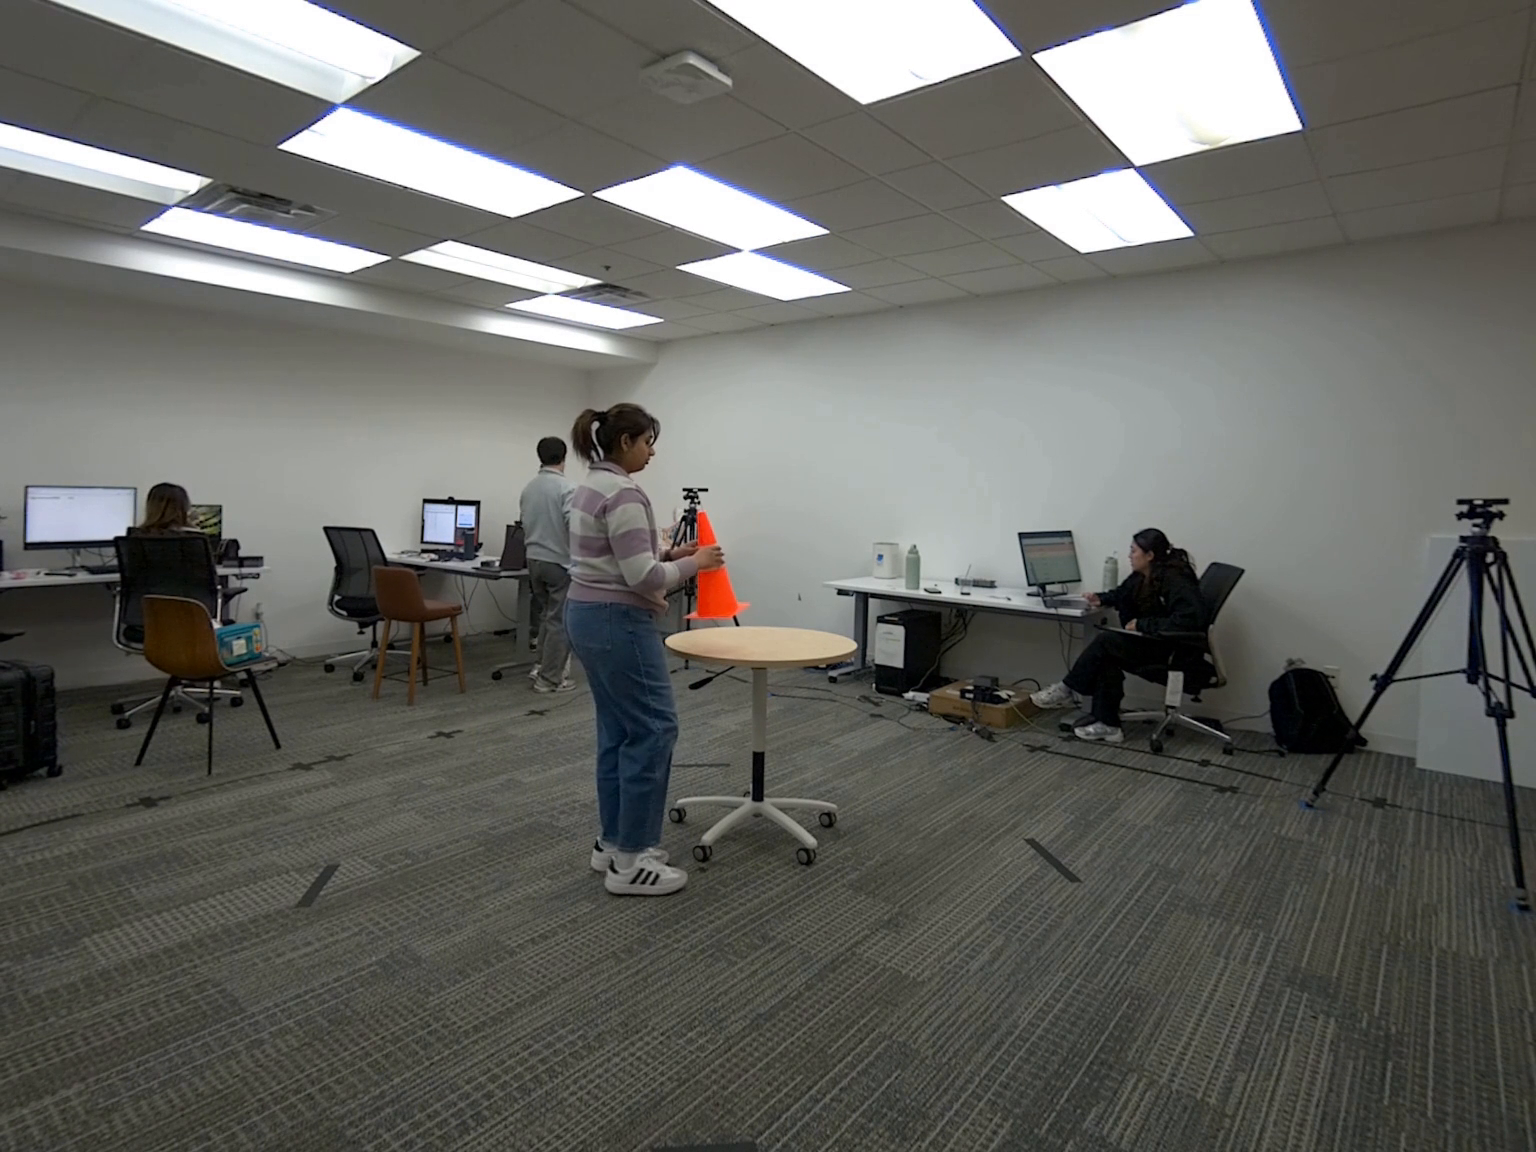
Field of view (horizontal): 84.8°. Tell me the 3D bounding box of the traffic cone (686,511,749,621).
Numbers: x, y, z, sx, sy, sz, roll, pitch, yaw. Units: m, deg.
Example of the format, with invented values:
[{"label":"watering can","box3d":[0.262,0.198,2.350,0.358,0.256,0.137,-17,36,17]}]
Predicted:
[{"label":"traffic cone","box3d":[-0.230,-0.049,3.137,0.211,0.381,0.198,0,11,45]}]
